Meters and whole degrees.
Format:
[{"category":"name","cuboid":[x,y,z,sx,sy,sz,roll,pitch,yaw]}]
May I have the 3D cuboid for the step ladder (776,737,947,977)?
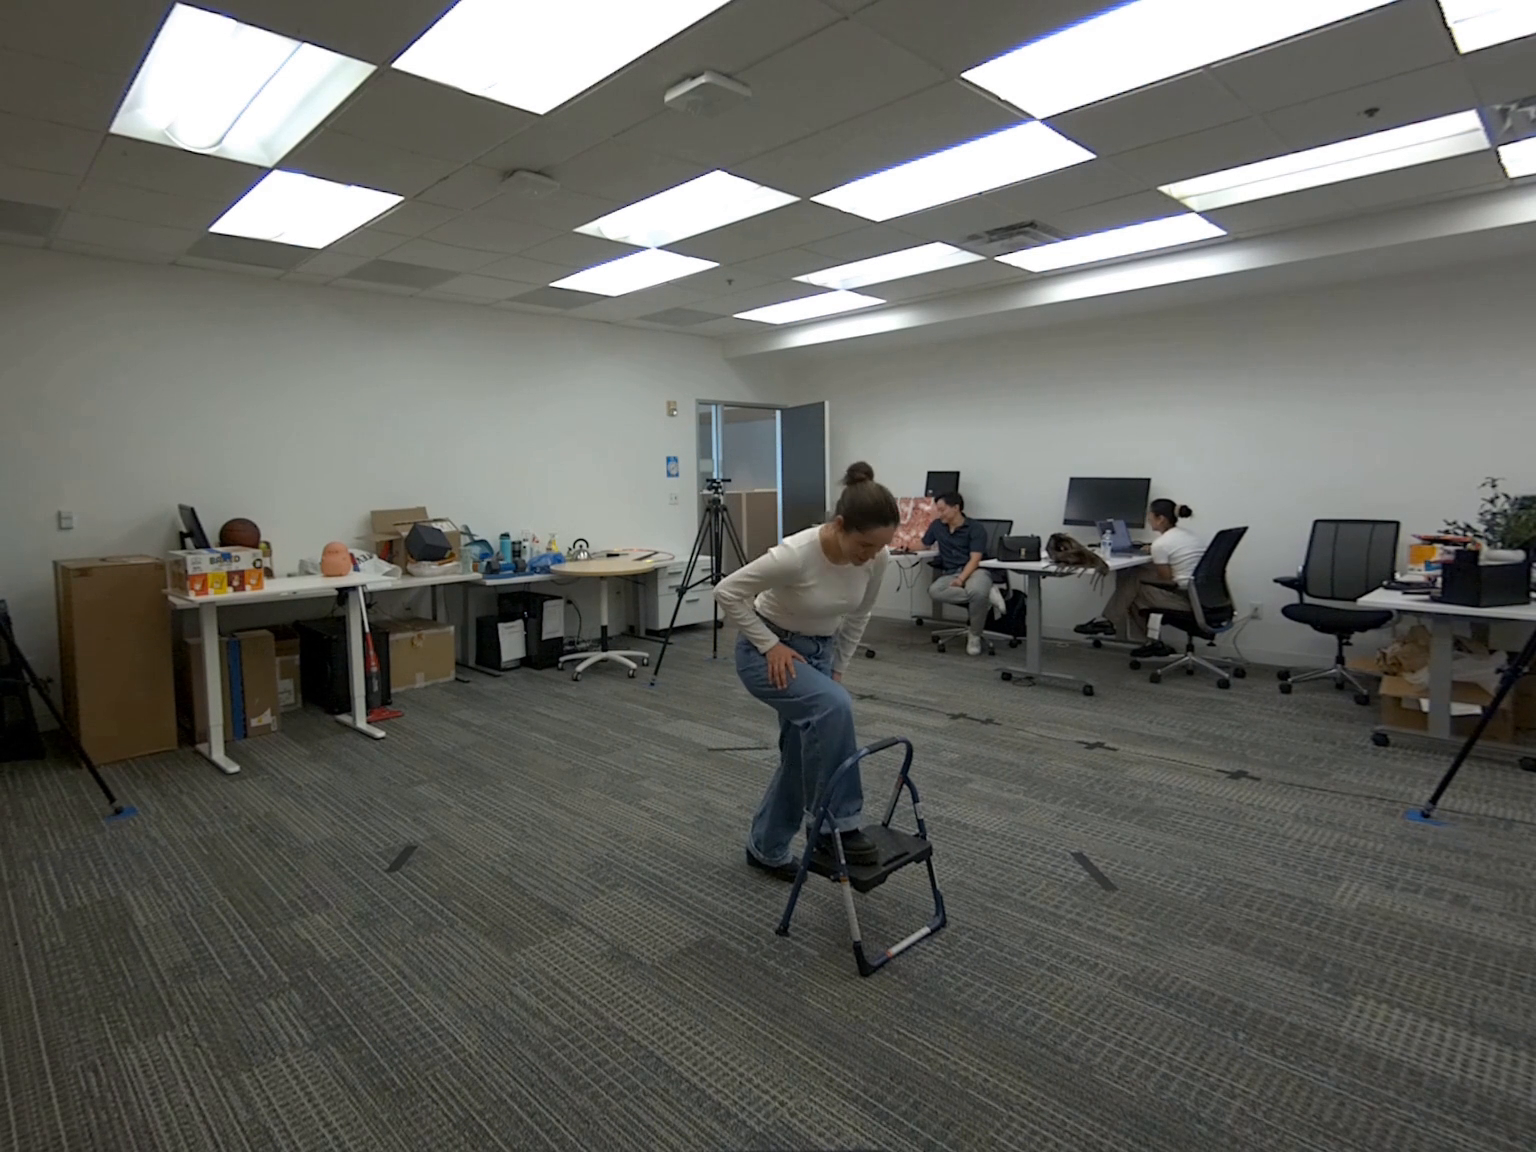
[{"category":"step ladder","cuboid":[0.292,0.791,2.625,0.360,0.603,0.419,4,7,45]}]
